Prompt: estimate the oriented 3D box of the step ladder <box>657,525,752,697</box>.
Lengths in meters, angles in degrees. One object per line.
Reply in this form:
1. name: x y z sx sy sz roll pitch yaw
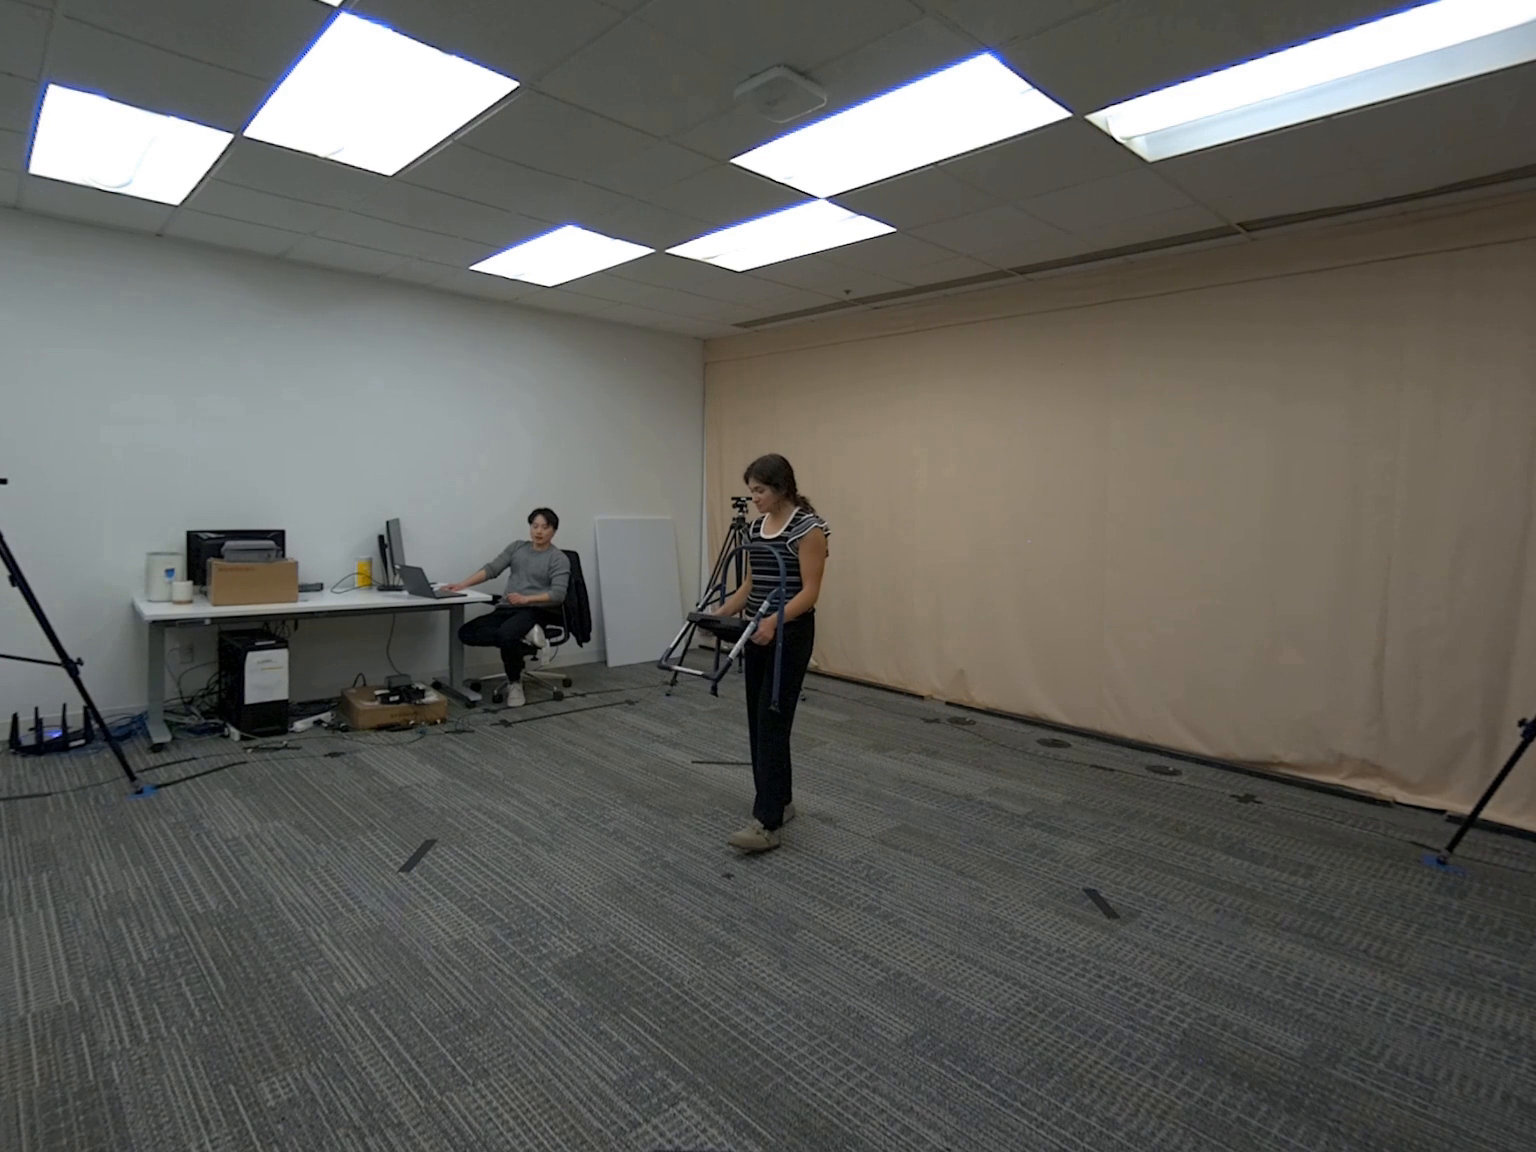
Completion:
1. step ladder: -0.114 0.180 3.420 0.339 0.610 0.441 33 -19 -36
